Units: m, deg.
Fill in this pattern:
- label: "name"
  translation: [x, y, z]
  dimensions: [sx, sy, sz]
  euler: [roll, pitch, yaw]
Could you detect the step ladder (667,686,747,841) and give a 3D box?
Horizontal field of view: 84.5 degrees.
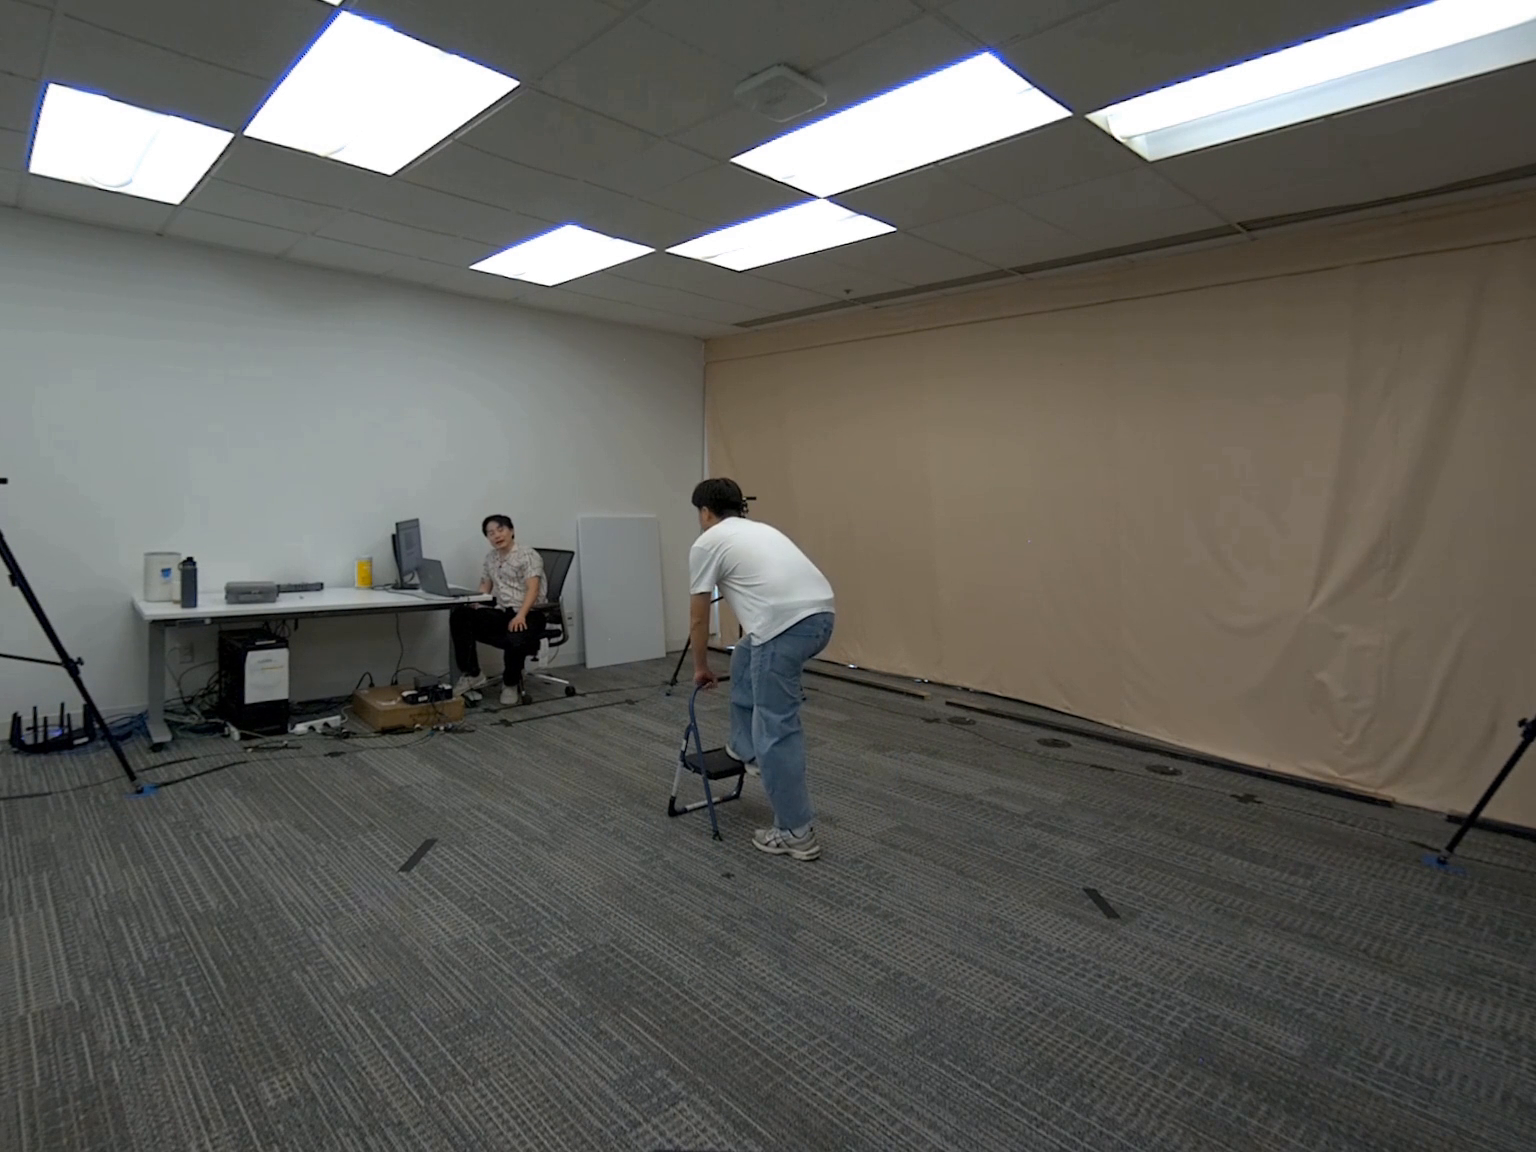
- label: "step ladder"
  translation: [-0.176, 0.752, 3.677]
  dimensions: [0.421, 0.605, 0.358]
  euler: [-2, 5, -44]
